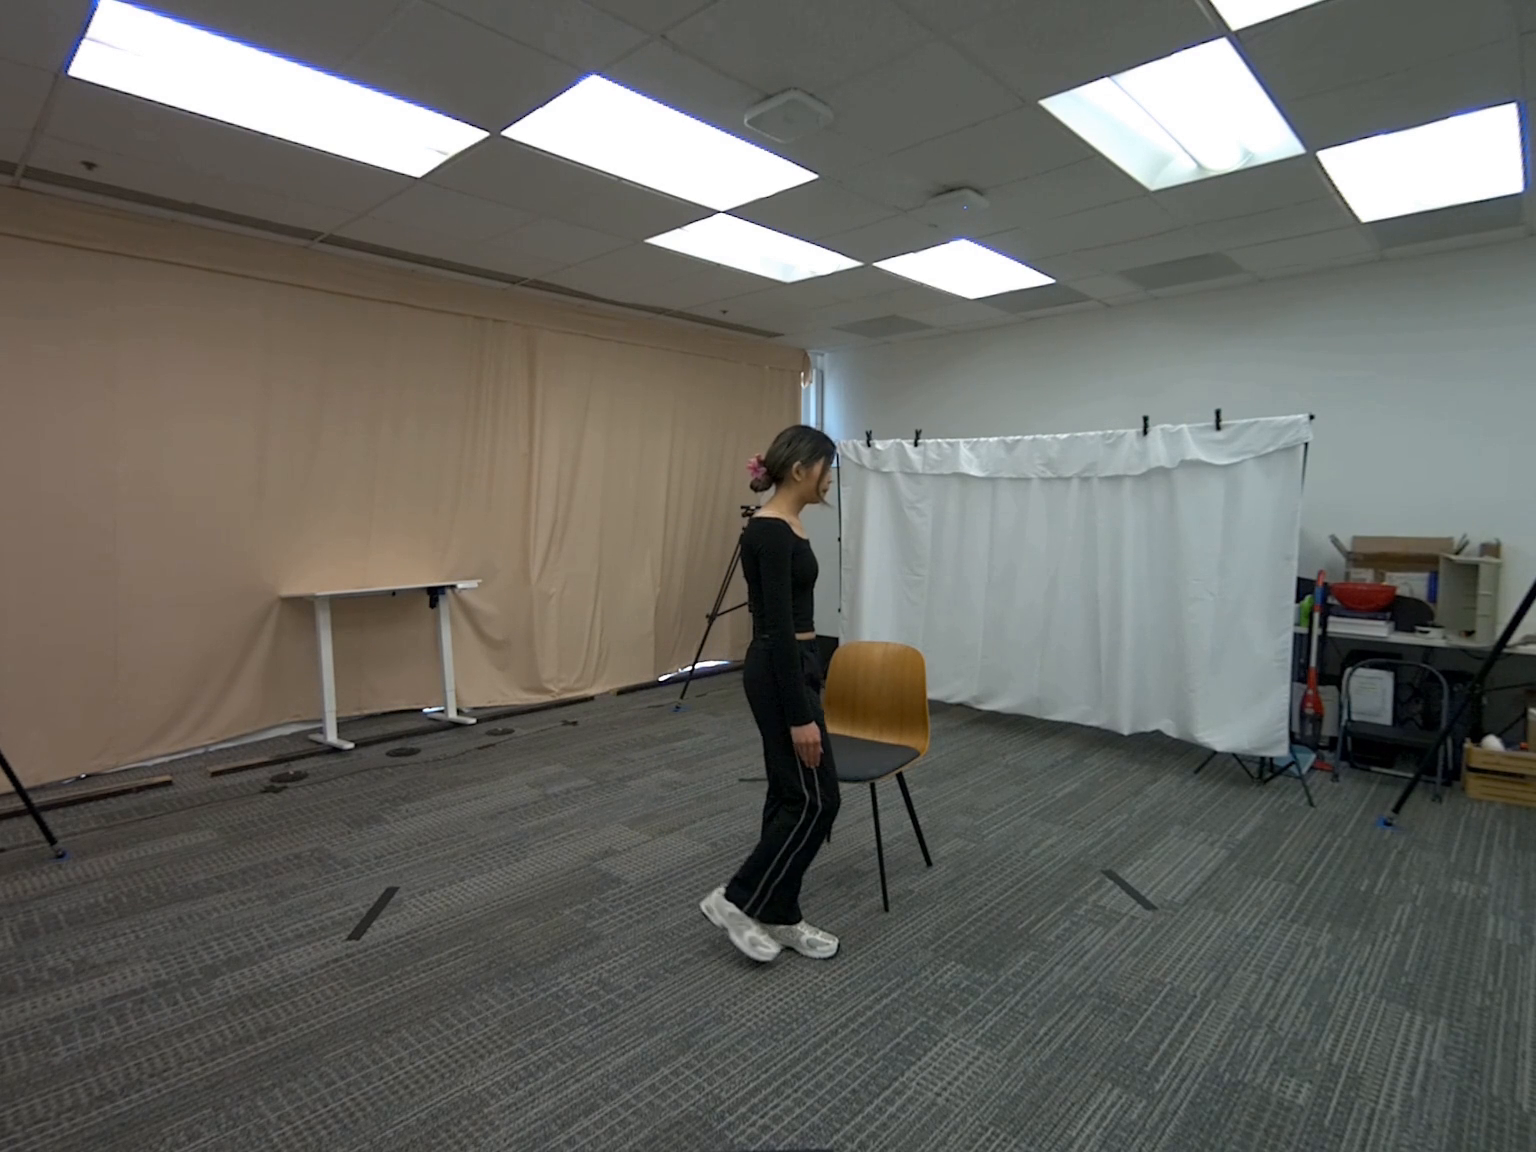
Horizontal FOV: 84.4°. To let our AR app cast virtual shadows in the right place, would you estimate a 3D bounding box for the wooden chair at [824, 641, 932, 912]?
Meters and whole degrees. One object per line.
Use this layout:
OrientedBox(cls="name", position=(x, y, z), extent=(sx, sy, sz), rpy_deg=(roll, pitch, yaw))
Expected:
OrientedBox(cls="wooden chair", position=(0.326, 0.701, 3.155), extent=(0.493, 0.877, 0.507), rpy_deg=(2, 0, 33))
